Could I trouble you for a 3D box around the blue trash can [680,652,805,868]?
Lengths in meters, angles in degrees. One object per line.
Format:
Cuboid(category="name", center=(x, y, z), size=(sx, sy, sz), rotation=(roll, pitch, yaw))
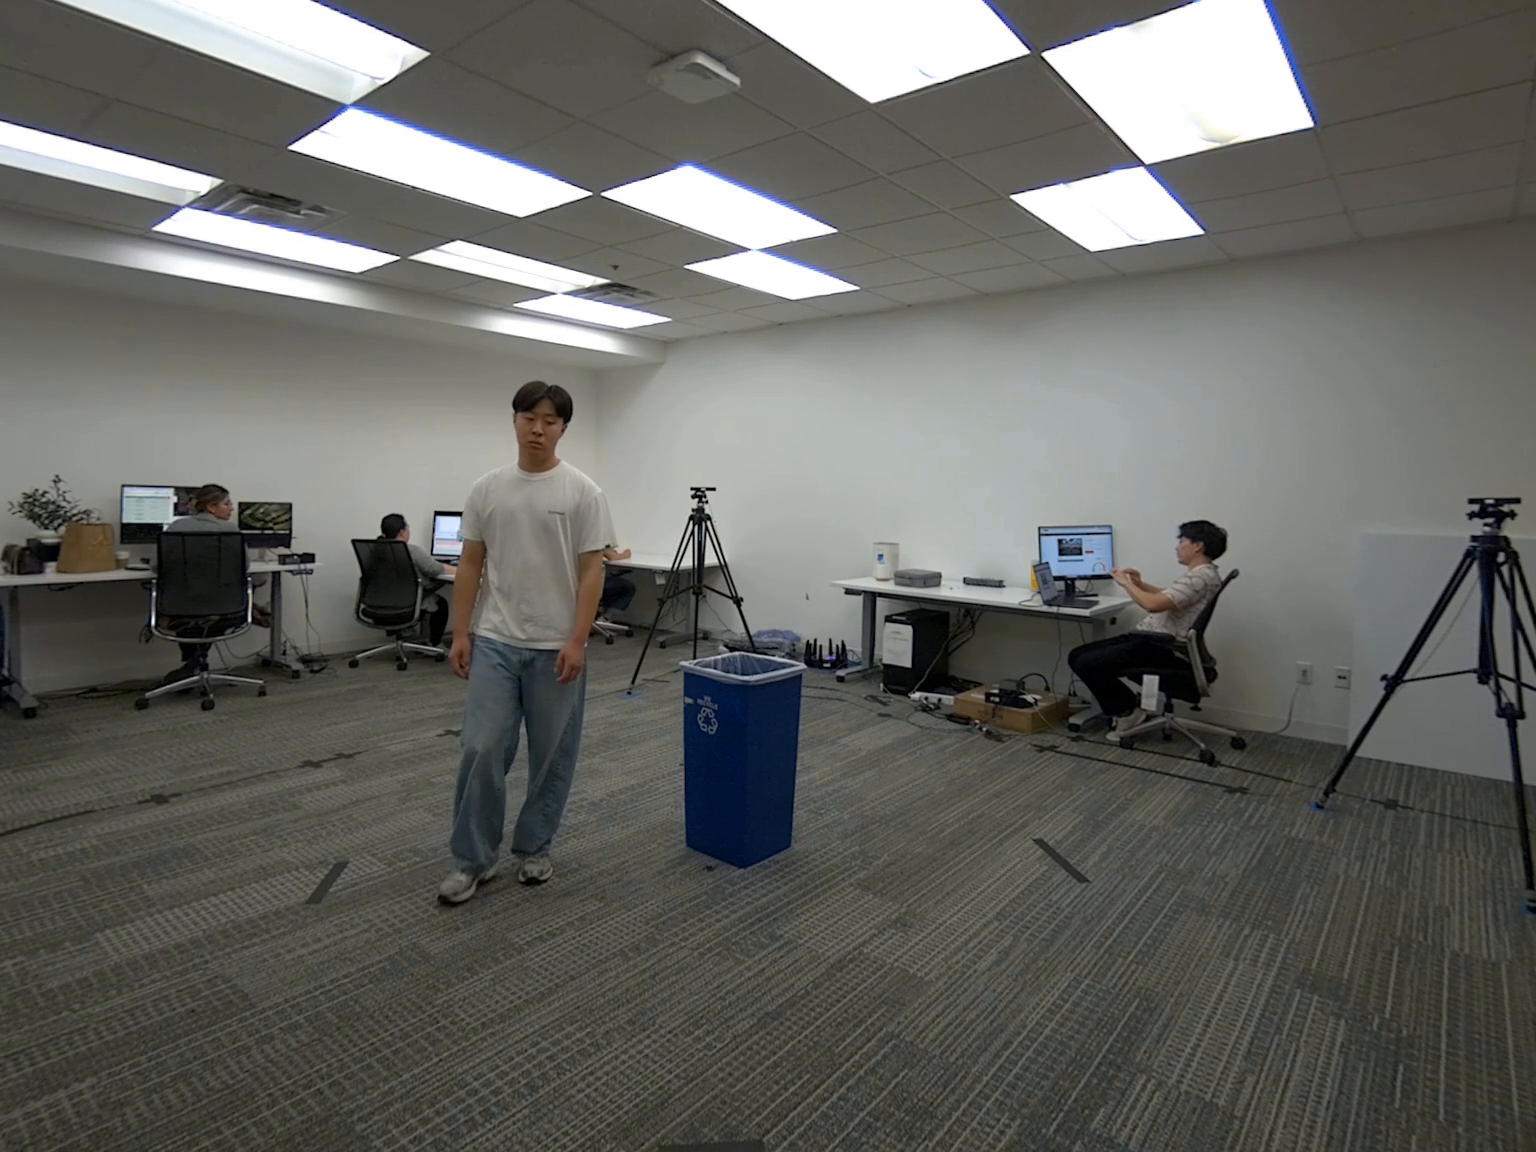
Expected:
Cuboid(category="blue trash can", center=(-0.107, 0.690, 3.292), size=(0.386, 0.711, 0.367), rotation=(4, 4, 40))
